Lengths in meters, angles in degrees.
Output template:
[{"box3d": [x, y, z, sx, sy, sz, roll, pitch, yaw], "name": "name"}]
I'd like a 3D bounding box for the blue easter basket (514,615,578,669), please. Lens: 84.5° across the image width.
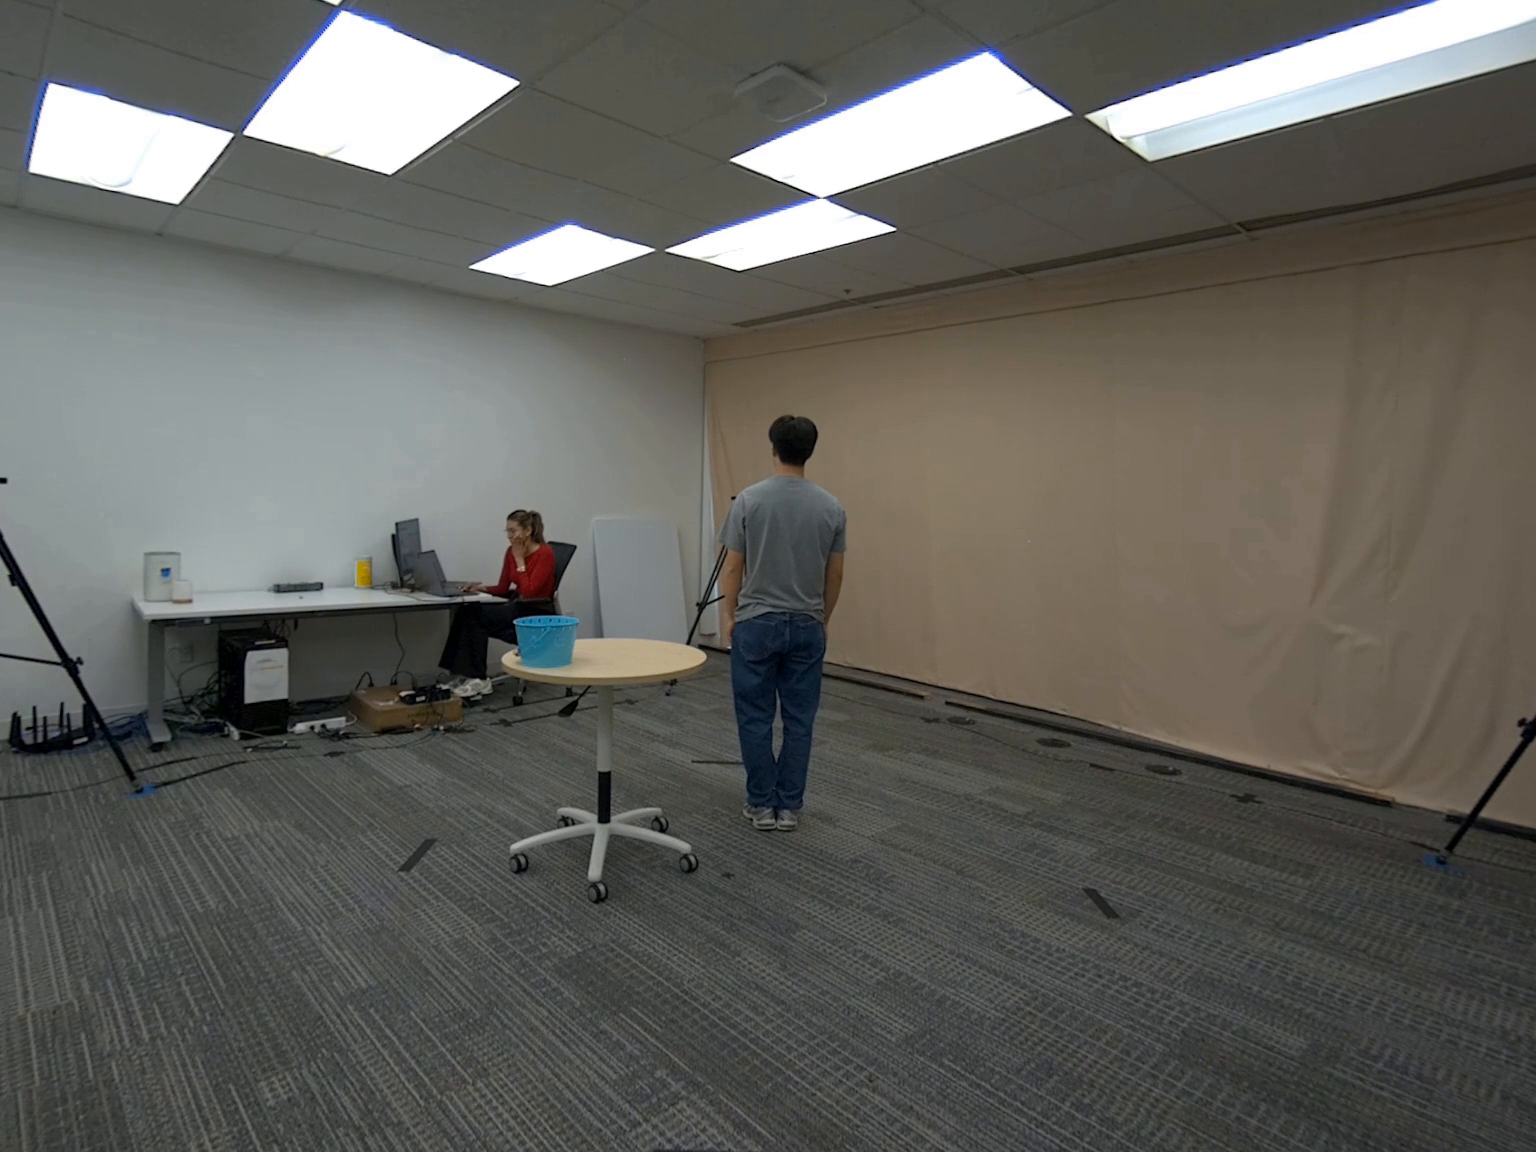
[{"box3d": [-0.822, 0.242, 3.047, 0.243, 0.155, 0.244, 0, 5, -1], "name": "blue easter basket"}]
